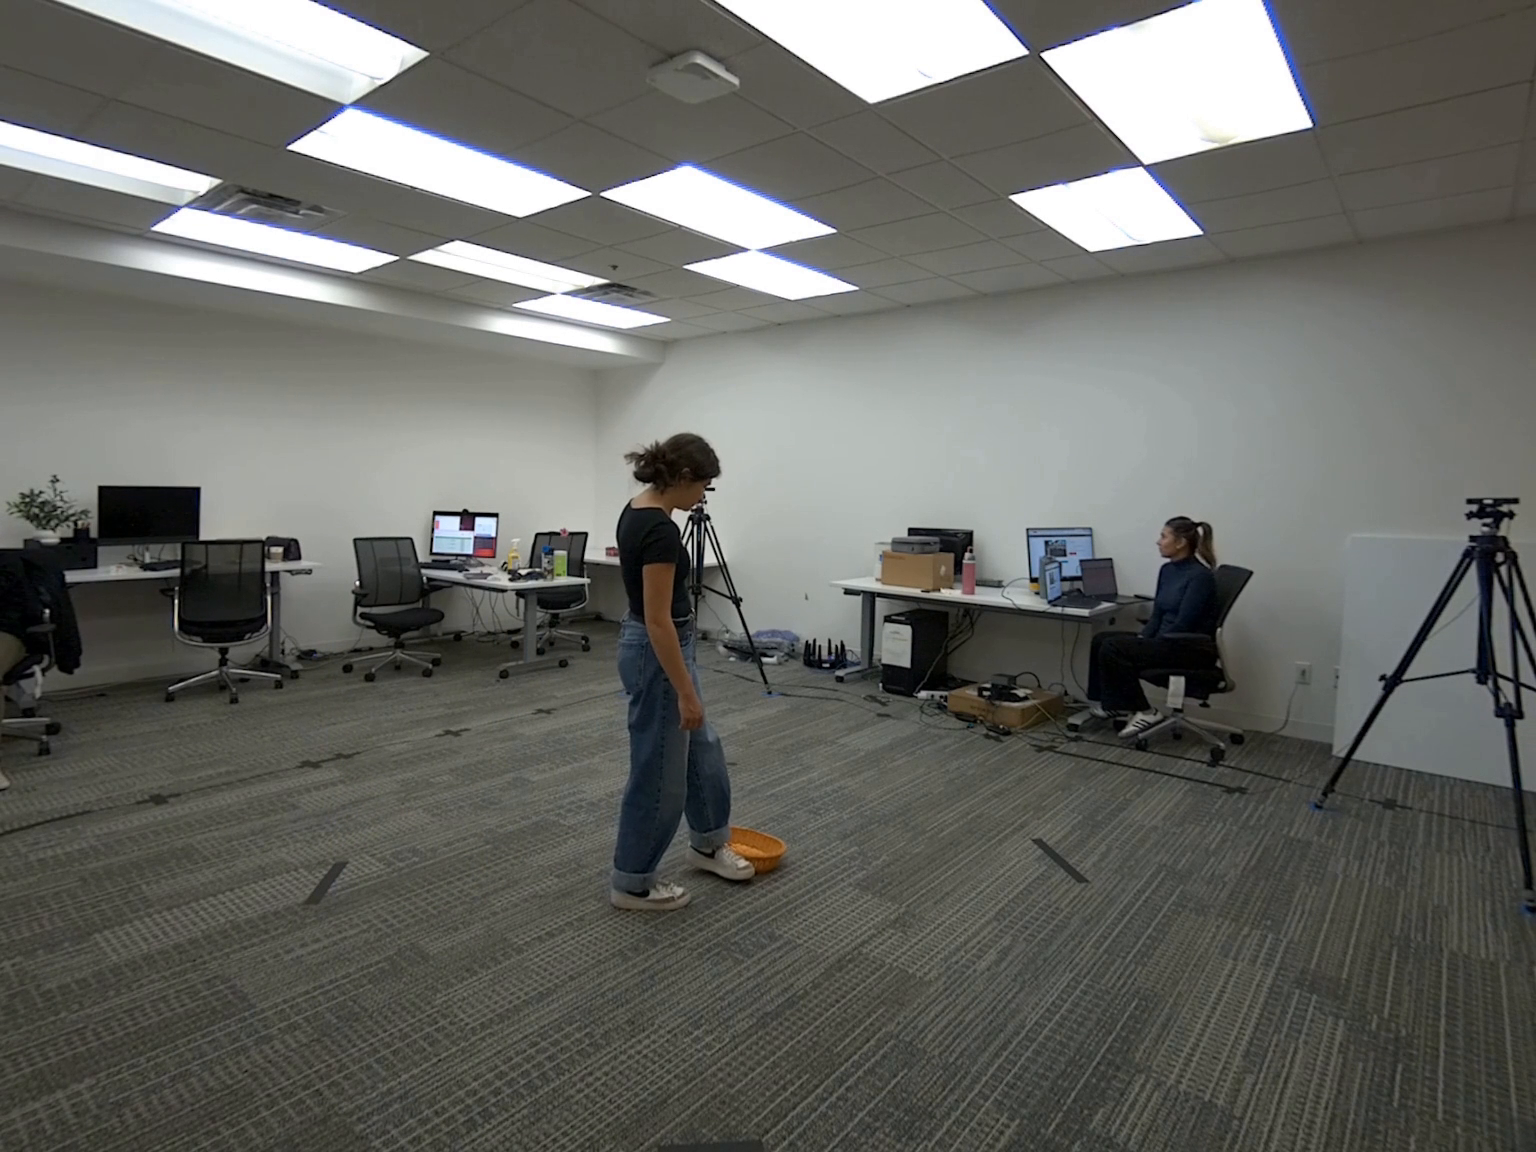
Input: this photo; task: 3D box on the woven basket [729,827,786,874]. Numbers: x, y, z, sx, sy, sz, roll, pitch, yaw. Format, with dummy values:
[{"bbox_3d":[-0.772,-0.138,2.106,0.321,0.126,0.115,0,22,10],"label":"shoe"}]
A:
[{"bbox_3d":[-0.103,1.019,3.186,0.362,0.073,0.244,4,2,40],"label":"woven basket"}]
